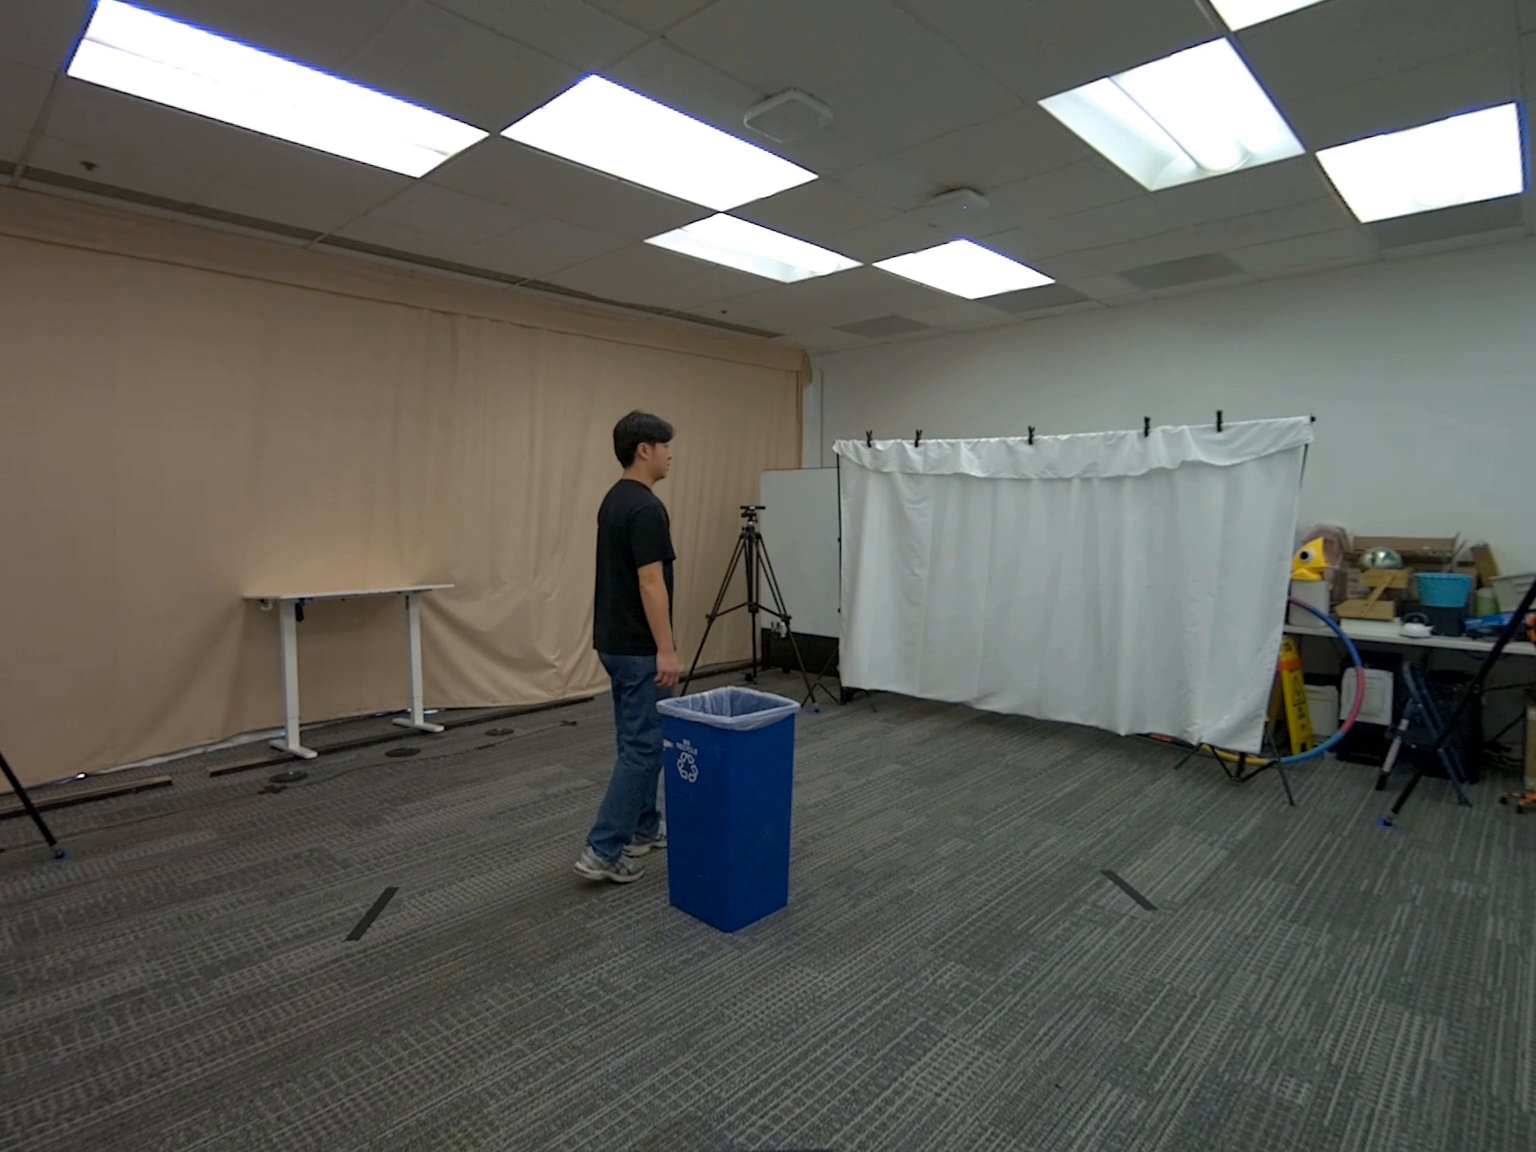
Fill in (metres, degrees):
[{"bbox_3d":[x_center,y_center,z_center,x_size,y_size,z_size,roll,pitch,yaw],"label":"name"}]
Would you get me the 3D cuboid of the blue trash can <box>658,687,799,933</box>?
[{"bbox_3d":[-0.127,0.792,2.919,0.386,0.712,0.366,3,4,45],"label":"blue trash can"}]
